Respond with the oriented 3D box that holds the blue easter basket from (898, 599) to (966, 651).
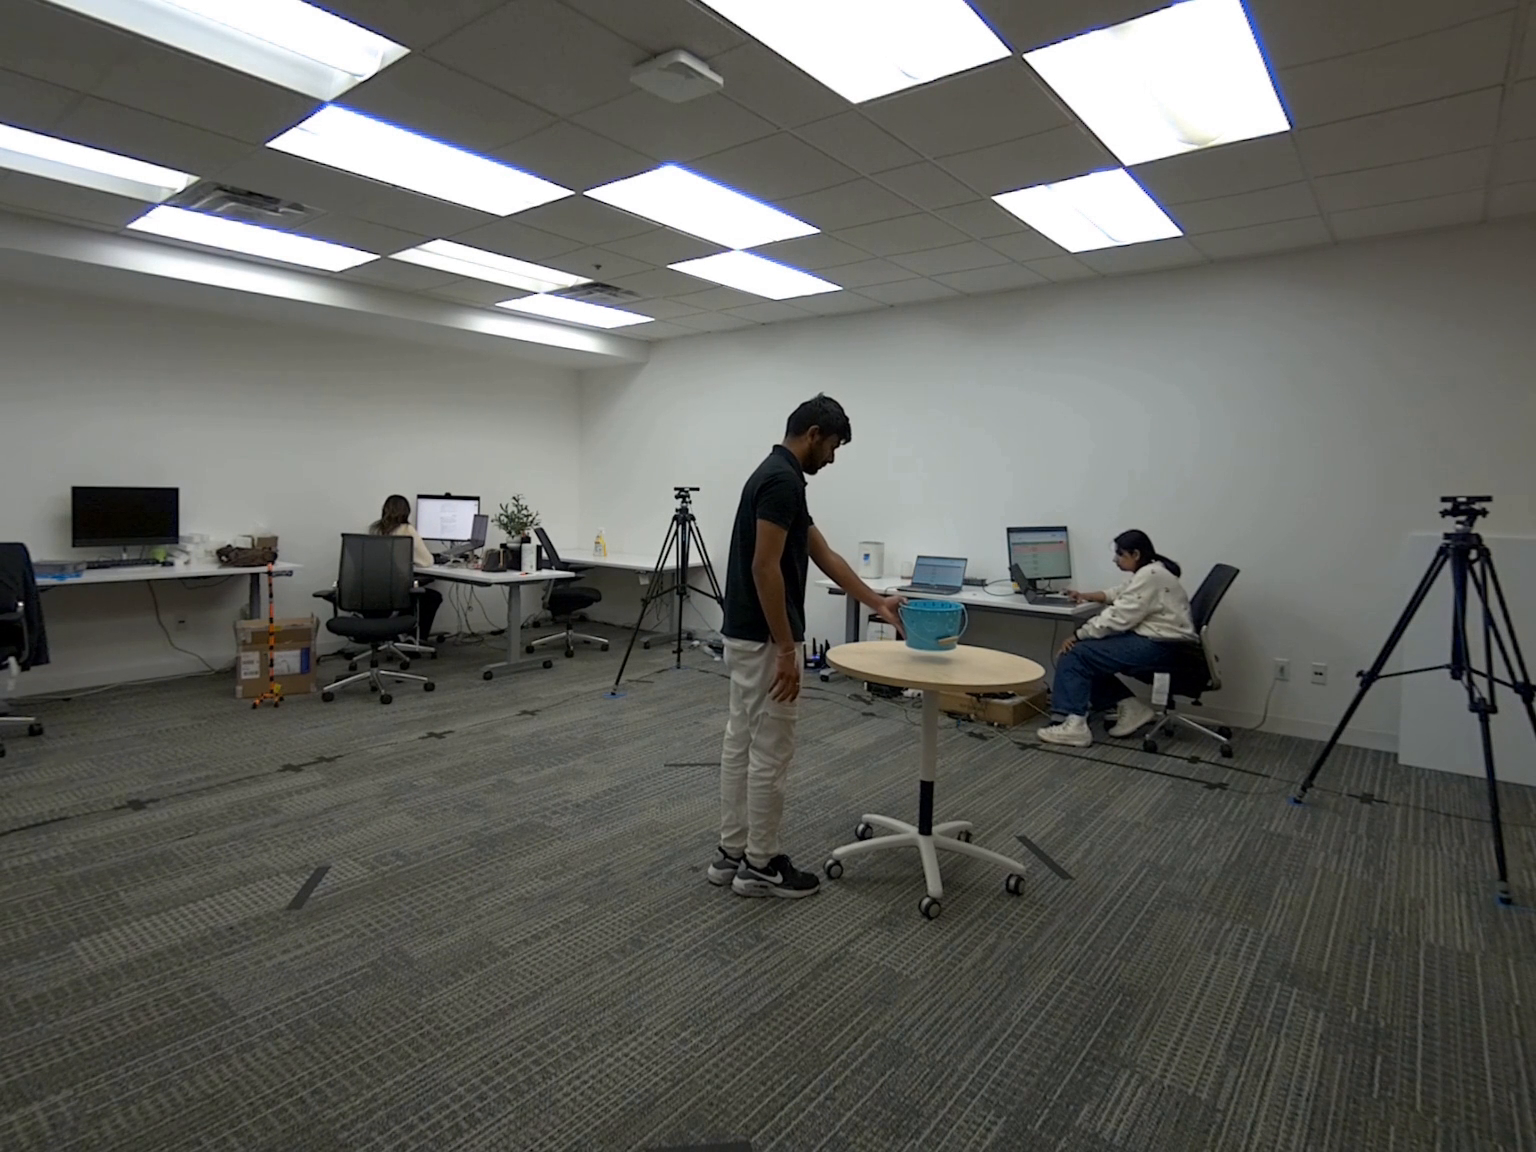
[{"bbox_3d":[0.592,0.178,3.112,0.243,0.155,0.244,0,4,-2],"label":"blue easter basket"}]
